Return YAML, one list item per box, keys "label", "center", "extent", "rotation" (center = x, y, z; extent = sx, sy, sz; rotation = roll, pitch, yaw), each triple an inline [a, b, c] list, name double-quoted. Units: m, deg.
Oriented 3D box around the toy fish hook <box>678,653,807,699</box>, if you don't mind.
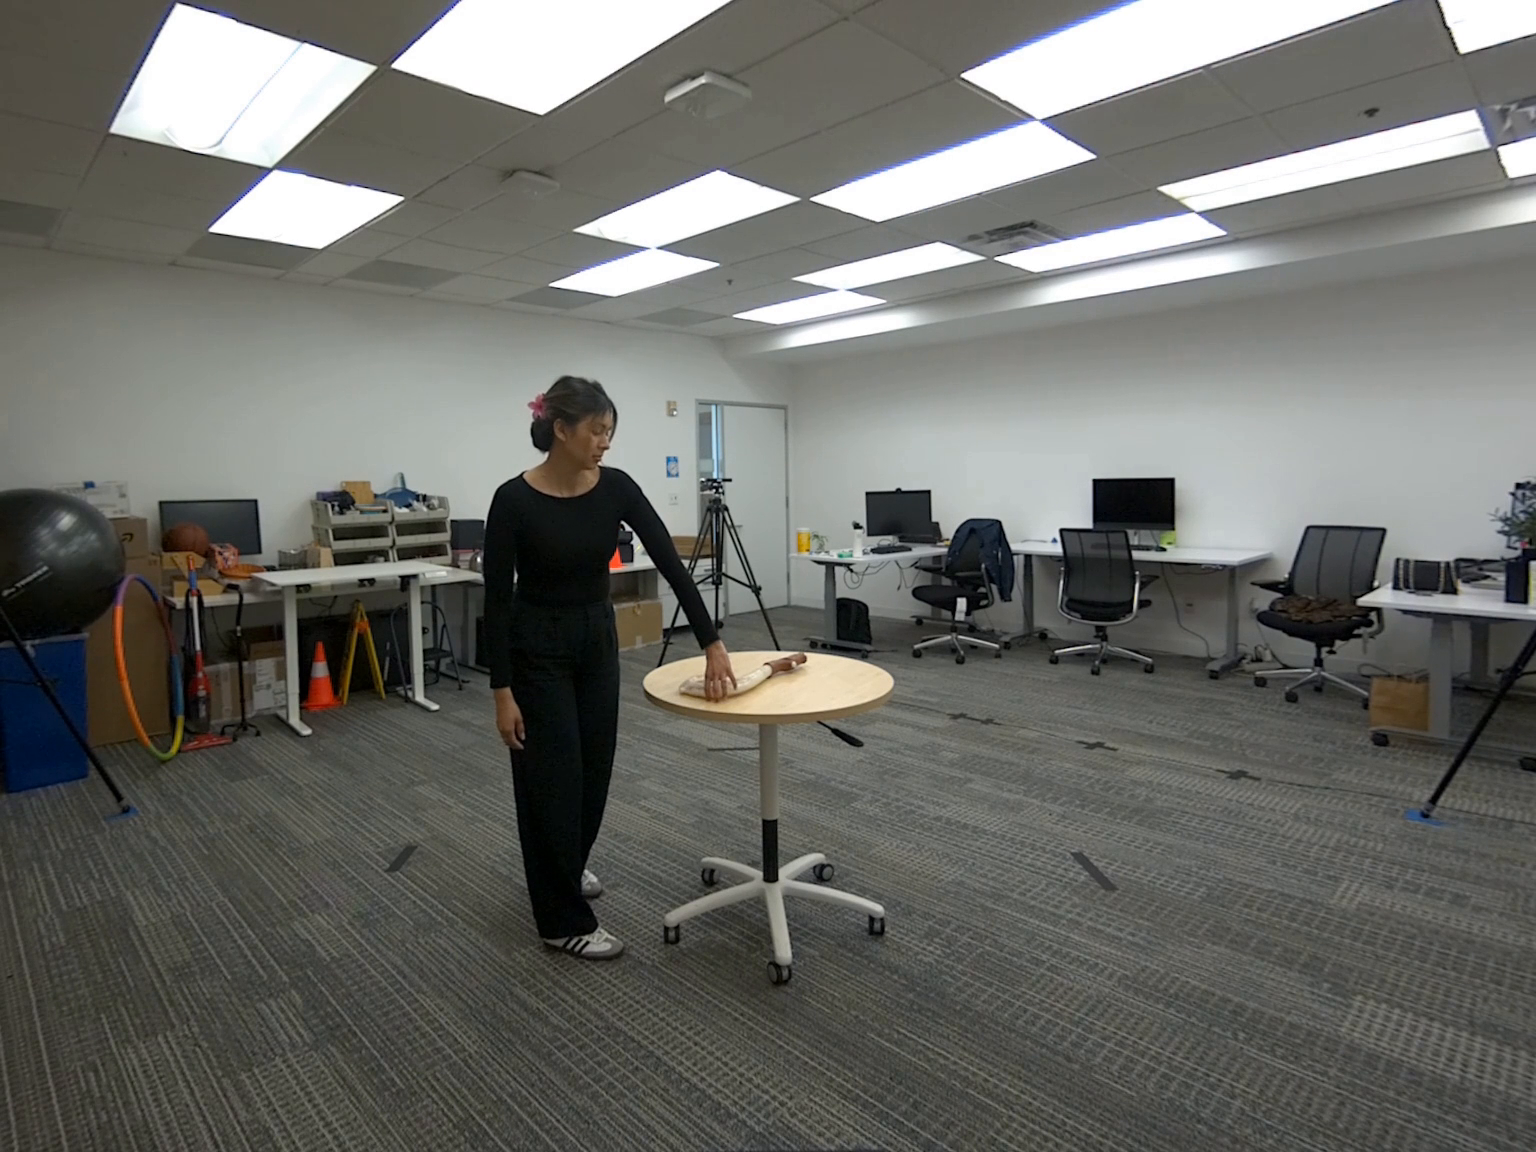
- label: "toy fish hook"
  center: [-0.071, 0.295, 2.624]
  extent: [0.231, 0.048, 0.495]
  rotation: [4, 10, 36]
